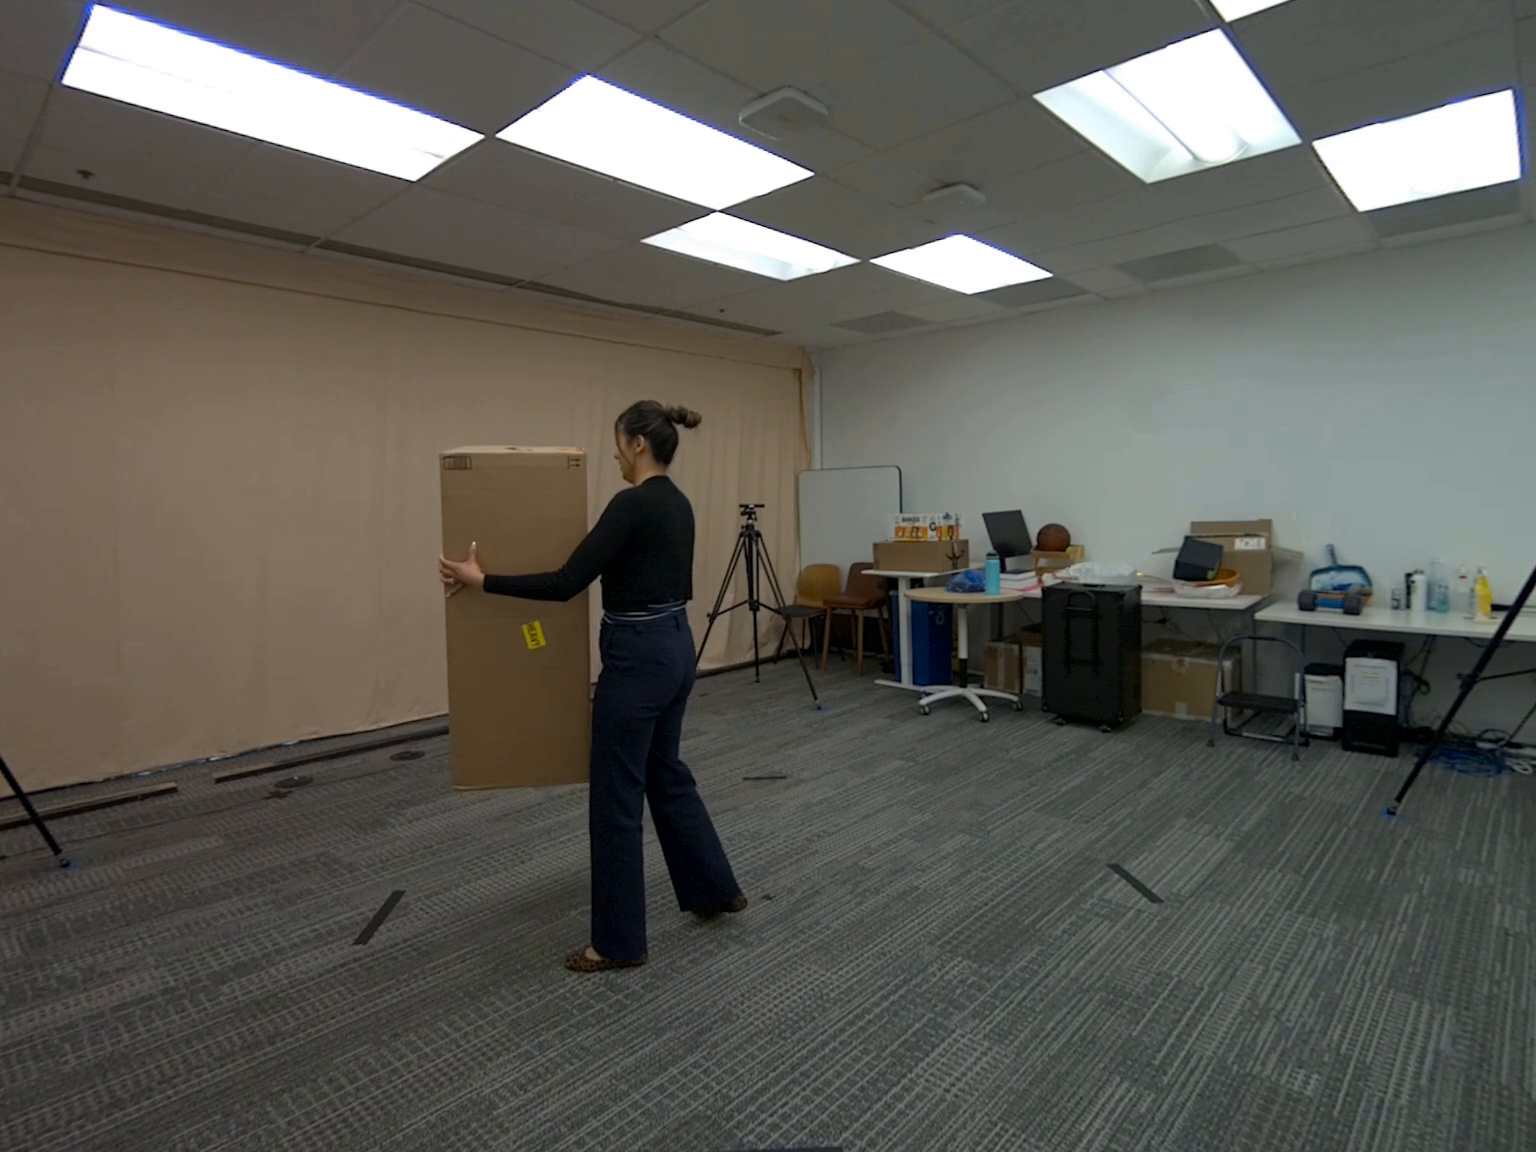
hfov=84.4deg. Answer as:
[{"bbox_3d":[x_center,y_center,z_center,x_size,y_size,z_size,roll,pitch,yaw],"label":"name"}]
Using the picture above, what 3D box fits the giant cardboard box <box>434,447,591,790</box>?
[{"bbox_3d":[-0.818,0.098,2.788,0.420,1.020,0.589,-1,9,-14],"label":"giant cardboard box"}]
